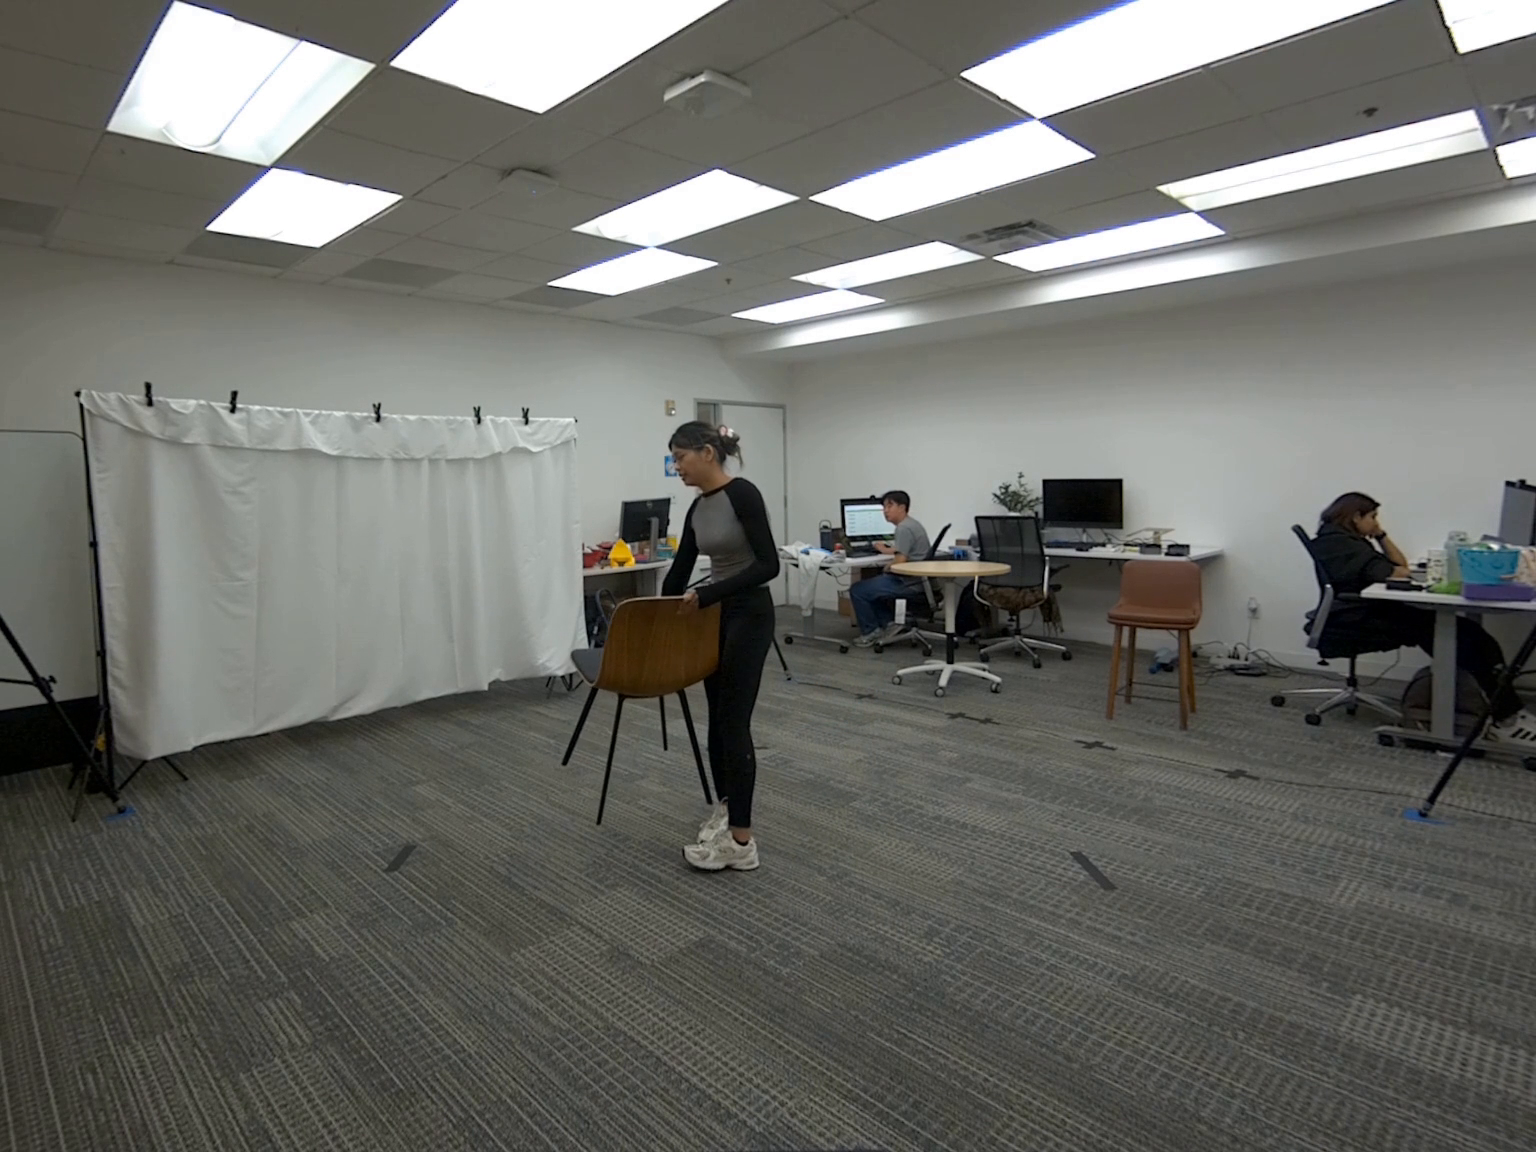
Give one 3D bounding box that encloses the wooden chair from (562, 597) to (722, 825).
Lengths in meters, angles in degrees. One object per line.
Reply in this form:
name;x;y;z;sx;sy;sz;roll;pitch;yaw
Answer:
wooden chair;-0.476;0.395;3.200;0.467;0.866;0.542;-2;19;-28
